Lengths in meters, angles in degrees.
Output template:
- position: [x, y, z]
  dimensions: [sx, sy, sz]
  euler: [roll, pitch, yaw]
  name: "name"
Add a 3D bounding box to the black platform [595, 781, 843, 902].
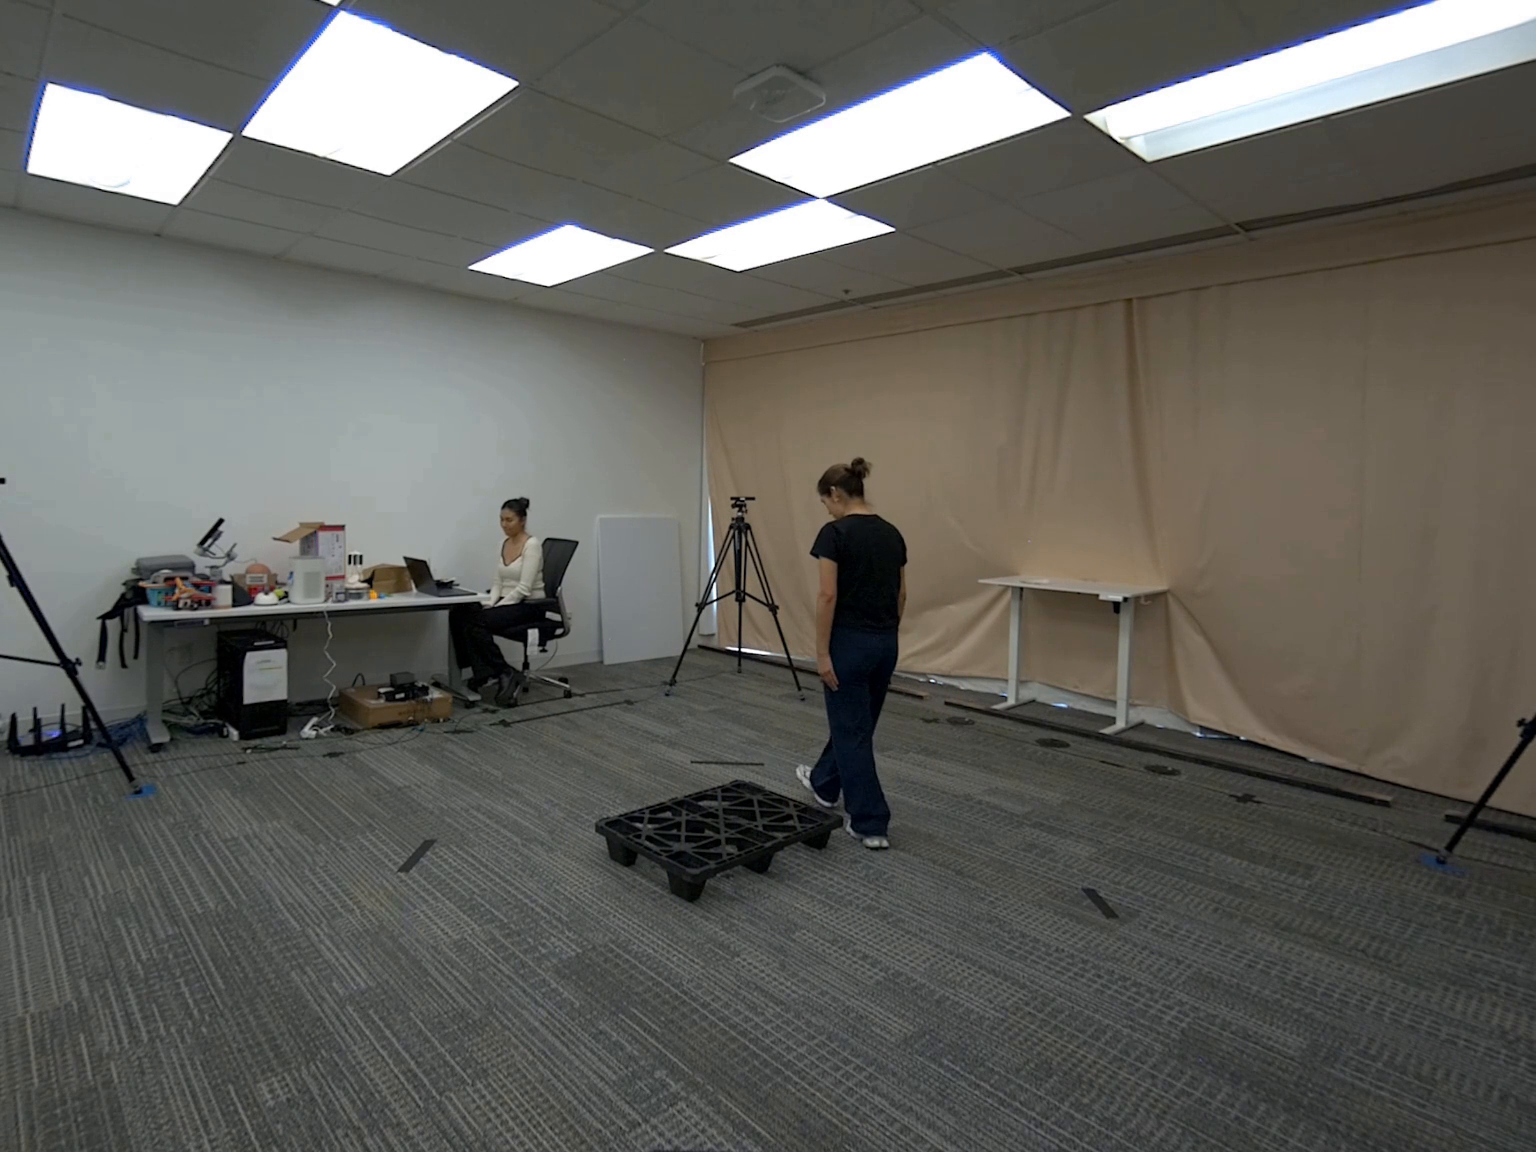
- position: [-0.197, 1.026, 3.291]
  dimensions: [0.620, 0.143, 0.787]
  euler: [6, 6, 45]
  name: "black platform"
